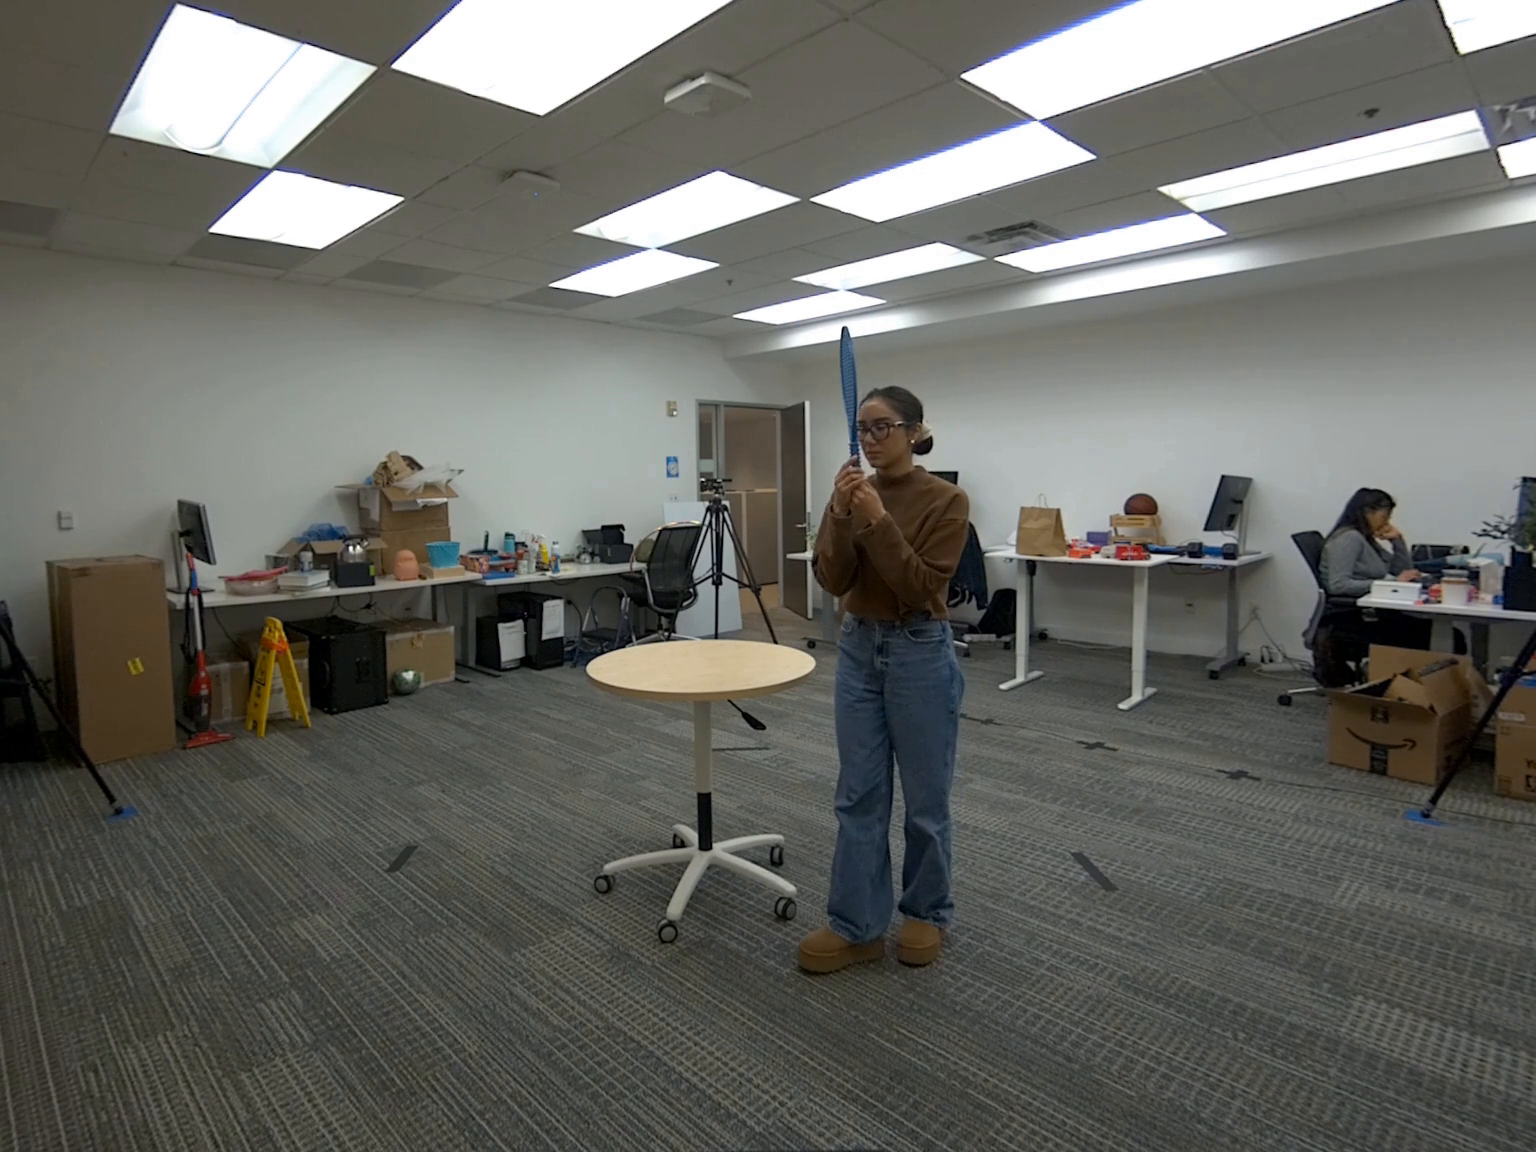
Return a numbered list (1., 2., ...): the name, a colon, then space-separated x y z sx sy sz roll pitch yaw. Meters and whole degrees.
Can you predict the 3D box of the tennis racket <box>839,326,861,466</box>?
1. tennis racket: 0.230 -0.461 2.307 0.032 0.431 0.215 -8 5 -1
